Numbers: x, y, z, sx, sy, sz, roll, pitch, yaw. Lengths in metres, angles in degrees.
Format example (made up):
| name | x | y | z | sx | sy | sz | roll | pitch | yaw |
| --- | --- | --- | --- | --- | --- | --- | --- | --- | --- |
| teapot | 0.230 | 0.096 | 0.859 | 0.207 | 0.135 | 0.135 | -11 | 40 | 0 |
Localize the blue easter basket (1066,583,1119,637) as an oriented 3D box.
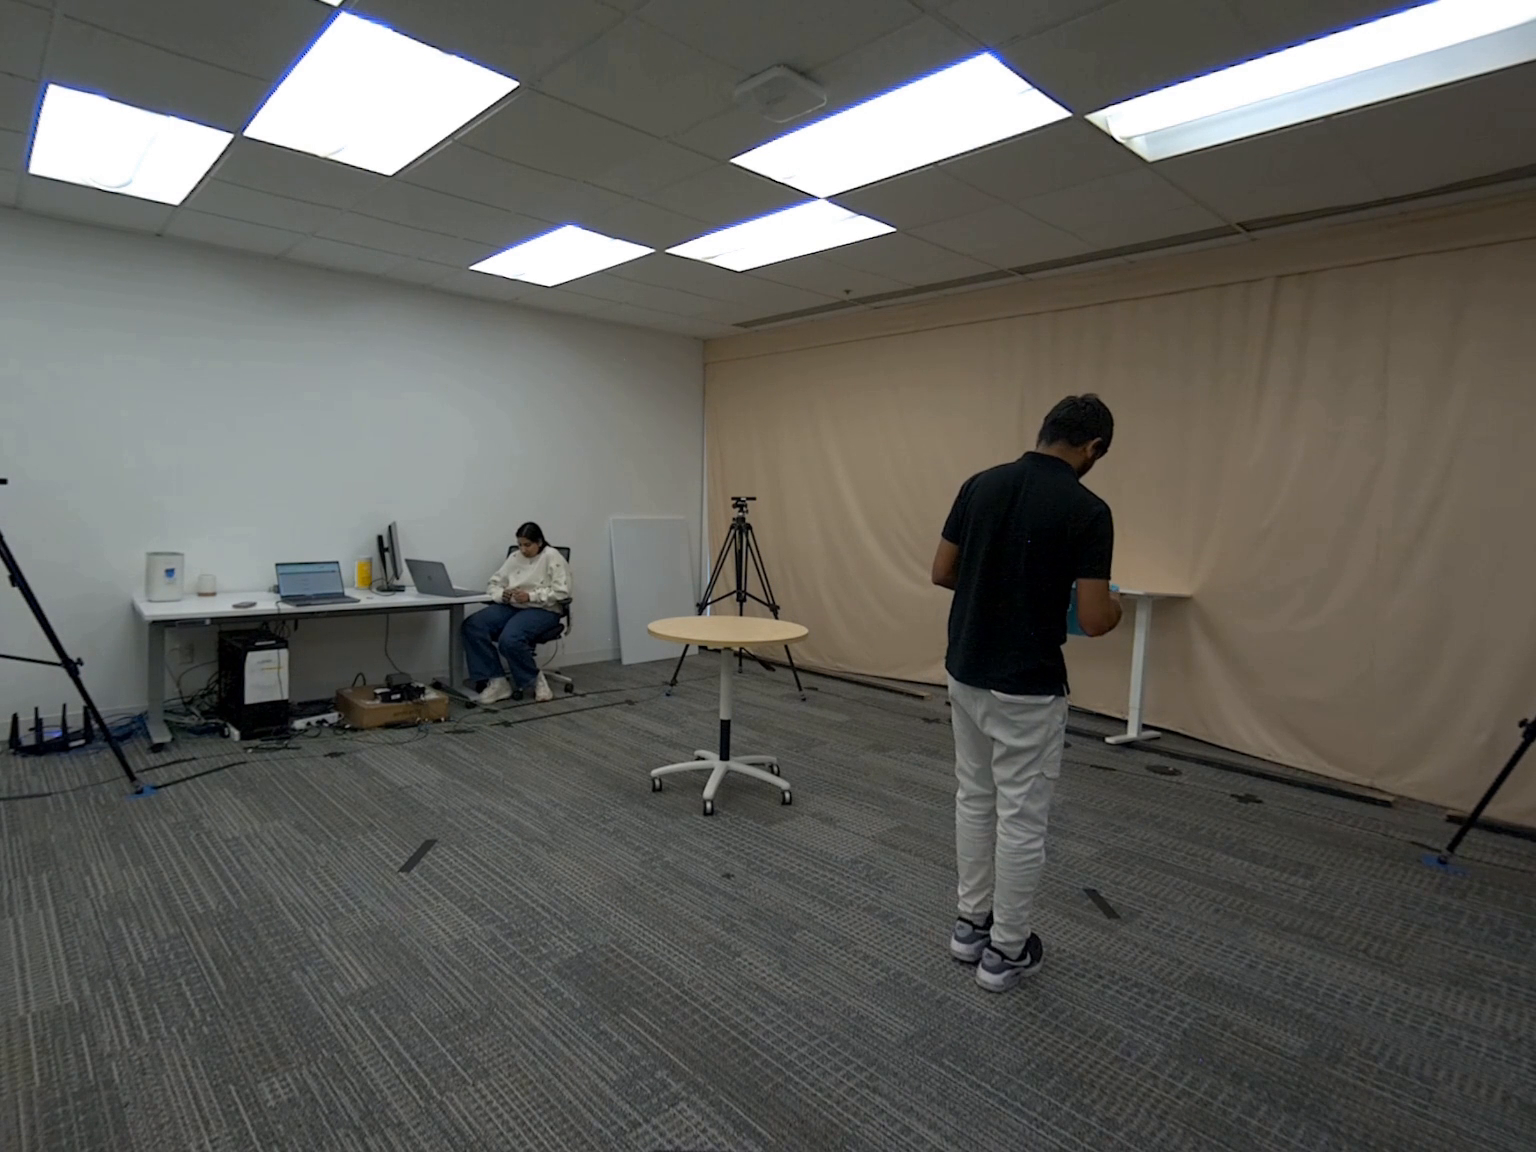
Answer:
| name | x | y | z | sx | sy | sz | roll | pitch | yaw |
| --- | --- | --- | --- | --- | --- | --- | --- | --- | --- |
| blue easter basket | 1.002 | 0.100 | 2.671 | 0.243 | 0.155 | 0.245 | 2 | 8 | -2 |
